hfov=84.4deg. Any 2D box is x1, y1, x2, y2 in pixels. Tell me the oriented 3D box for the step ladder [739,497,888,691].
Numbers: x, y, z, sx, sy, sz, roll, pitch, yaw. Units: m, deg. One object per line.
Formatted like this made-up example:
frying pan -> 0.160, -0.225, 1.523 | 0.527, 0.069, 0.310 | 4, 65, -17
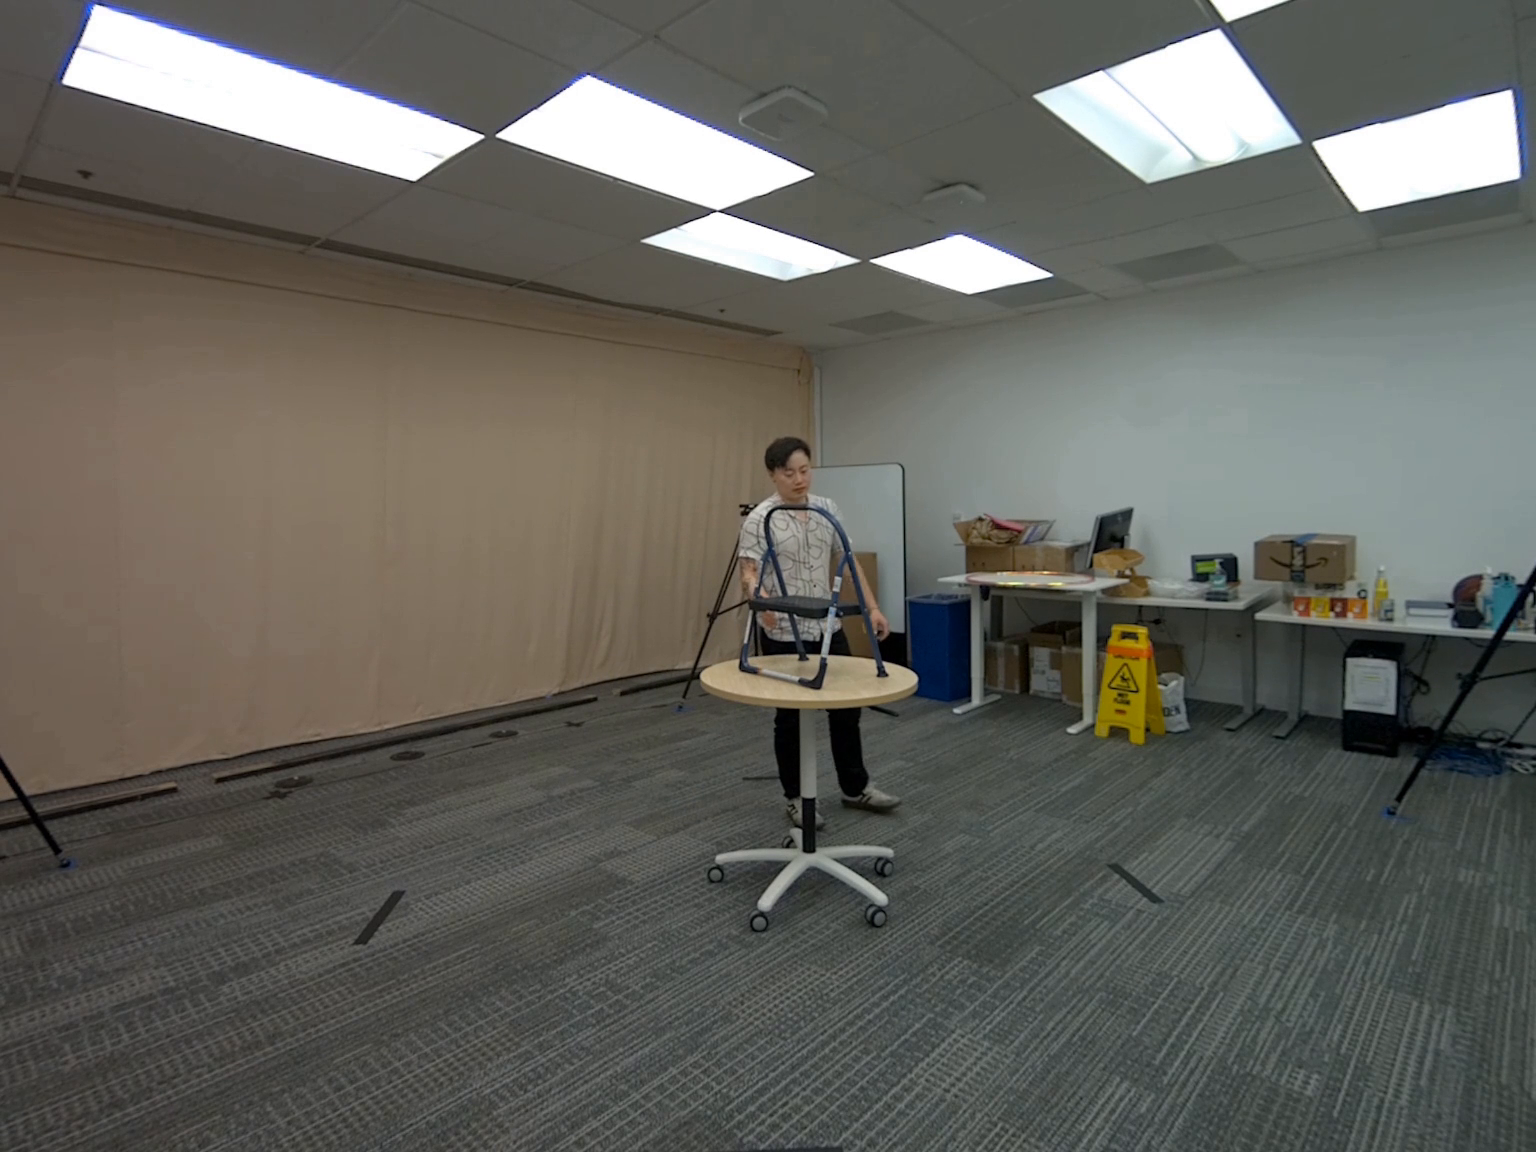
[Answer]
step ladder -> 0.155, 0.048, 2.997 | 0.339, 0.605, 0.445 | -3, 5, -41
